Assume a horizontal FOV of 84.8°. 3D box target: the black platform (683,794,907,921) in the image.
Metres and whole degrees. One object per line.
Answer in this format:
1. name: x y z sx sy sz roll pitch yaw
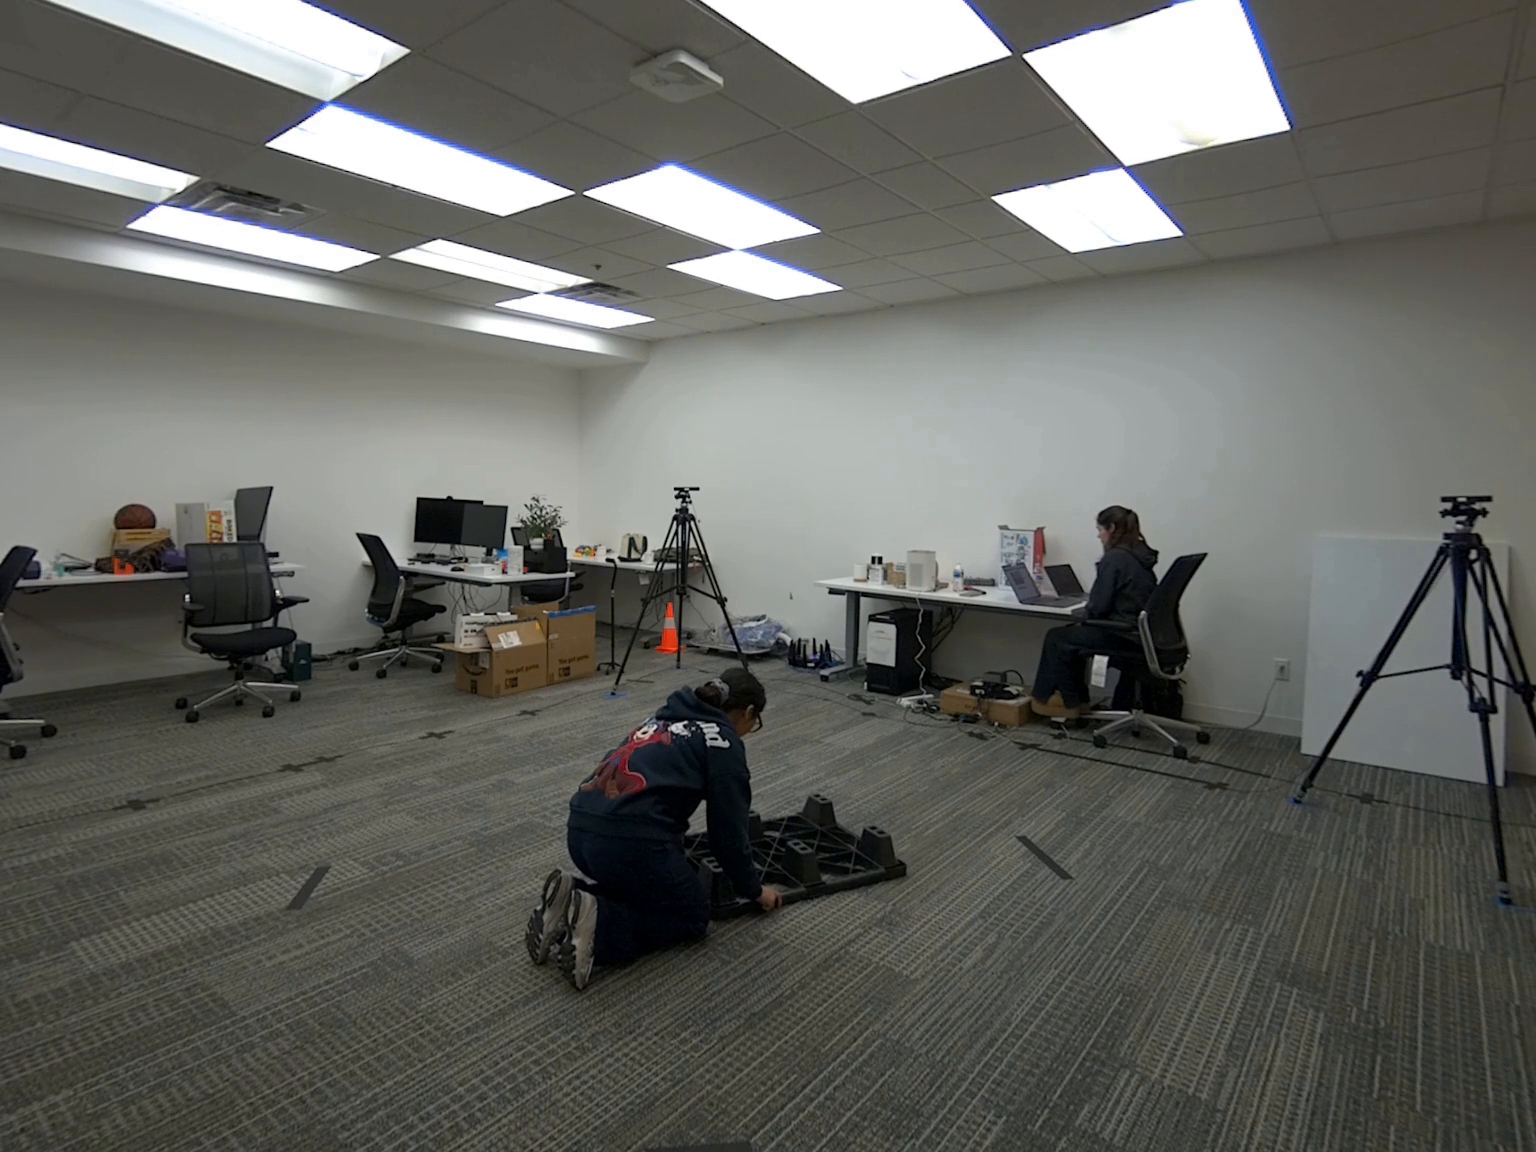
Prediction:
1. black platform: 0.012 0.998 3.154 0.785 0.143 0.624 -3 7 -30
